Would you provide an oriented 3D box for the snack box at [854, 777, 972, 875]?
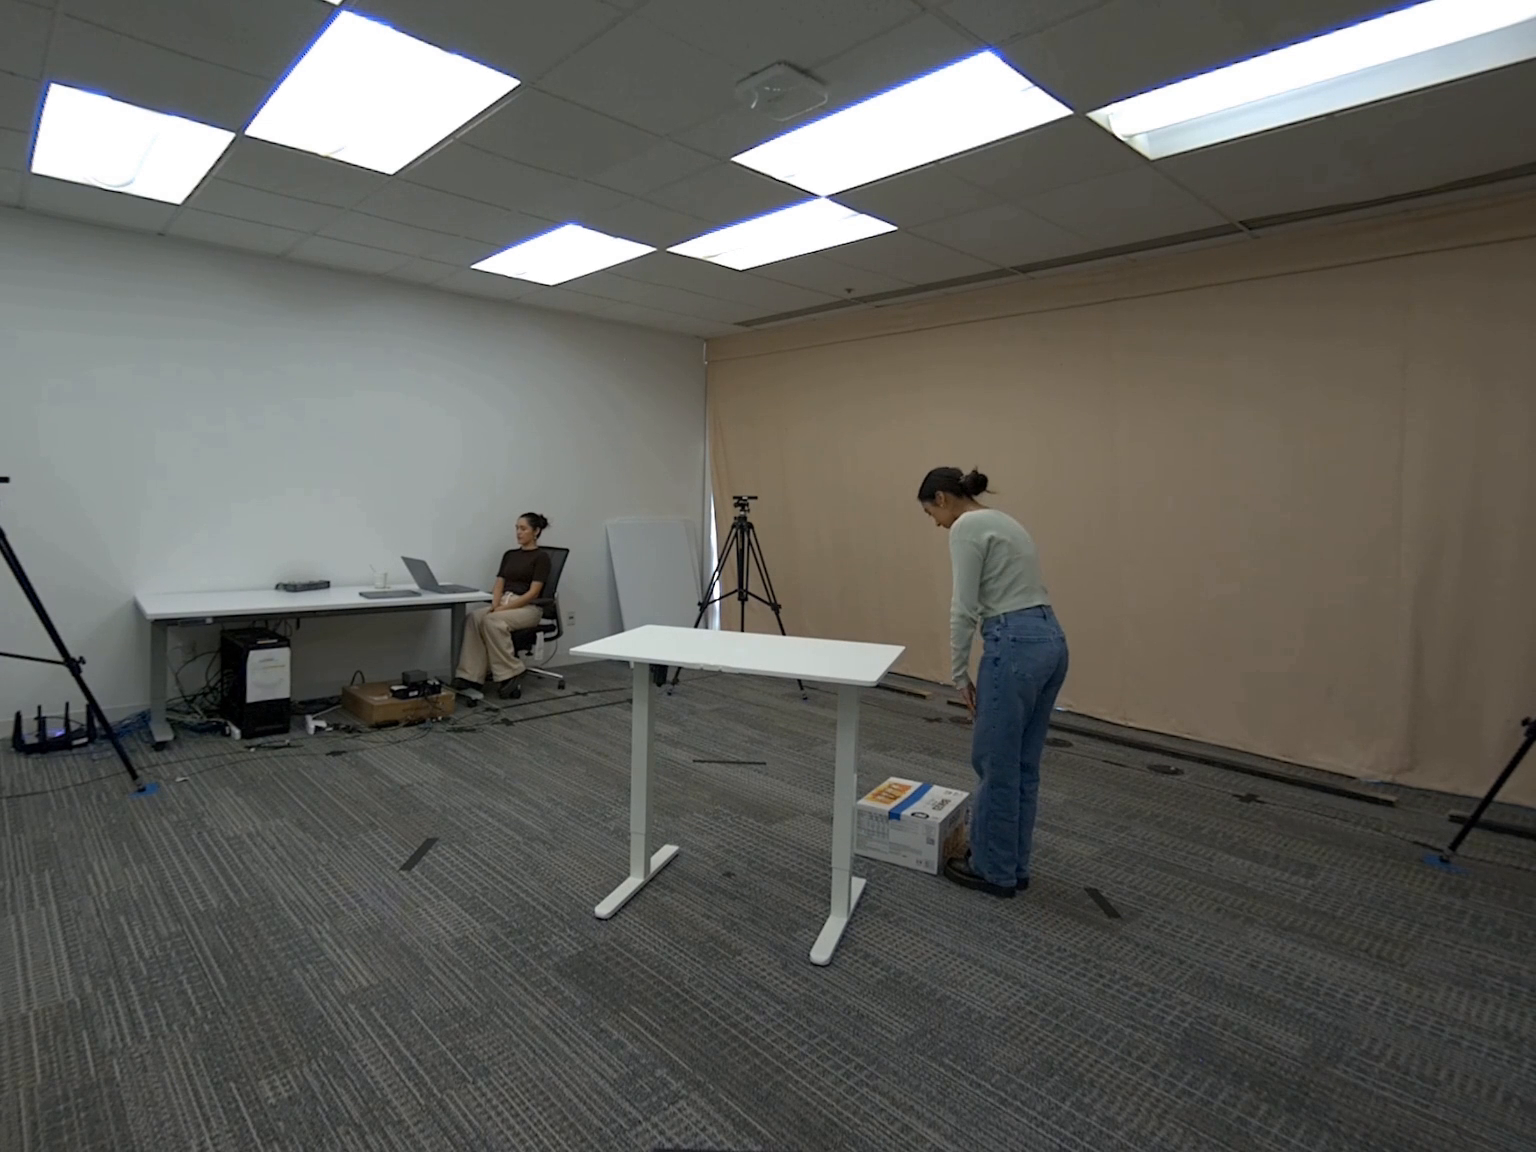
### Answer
[{"bbox_3d":[0.578,0.993,3.390,0.348,0.205,0.397,4,5,30],"label":"snack box"}]
